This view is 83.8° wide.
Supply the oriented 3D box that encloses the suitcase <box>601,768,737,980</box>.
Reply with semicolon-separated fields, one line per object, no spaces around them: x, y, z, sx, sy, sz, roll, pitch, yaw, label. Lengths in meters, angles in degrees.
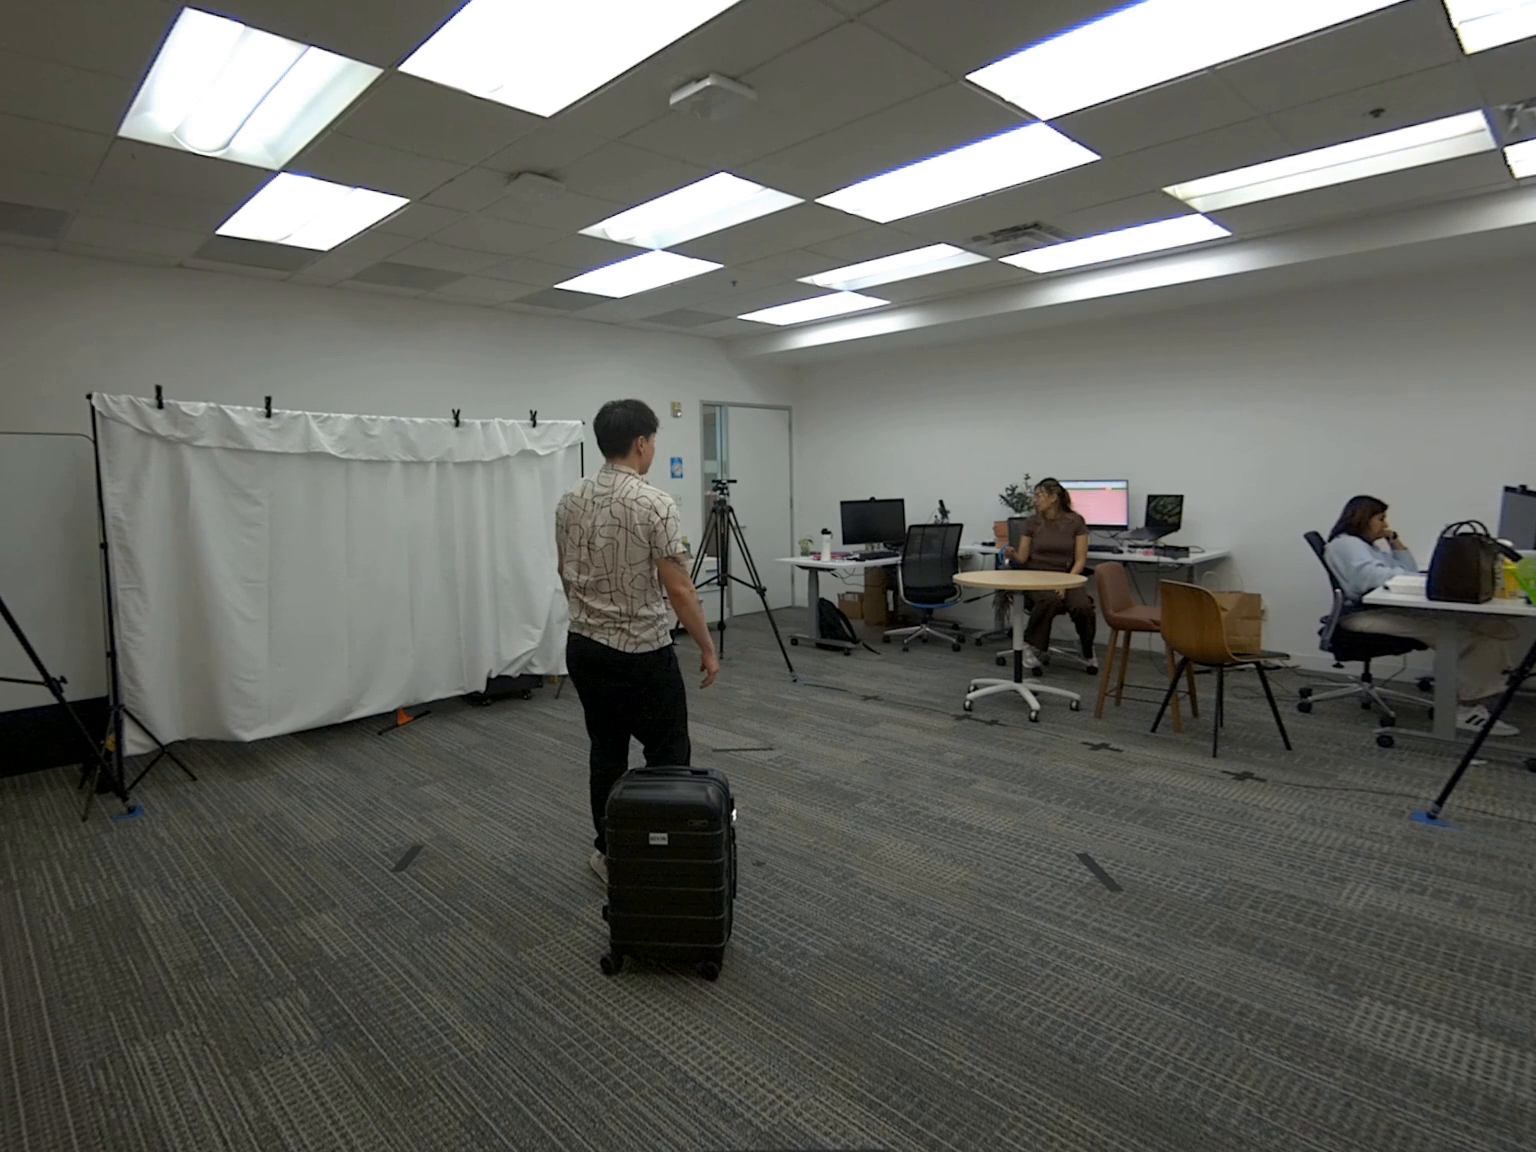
-0.280;0.849;2.501;0.378;0.547;0.248;1;5;6;suitcase
